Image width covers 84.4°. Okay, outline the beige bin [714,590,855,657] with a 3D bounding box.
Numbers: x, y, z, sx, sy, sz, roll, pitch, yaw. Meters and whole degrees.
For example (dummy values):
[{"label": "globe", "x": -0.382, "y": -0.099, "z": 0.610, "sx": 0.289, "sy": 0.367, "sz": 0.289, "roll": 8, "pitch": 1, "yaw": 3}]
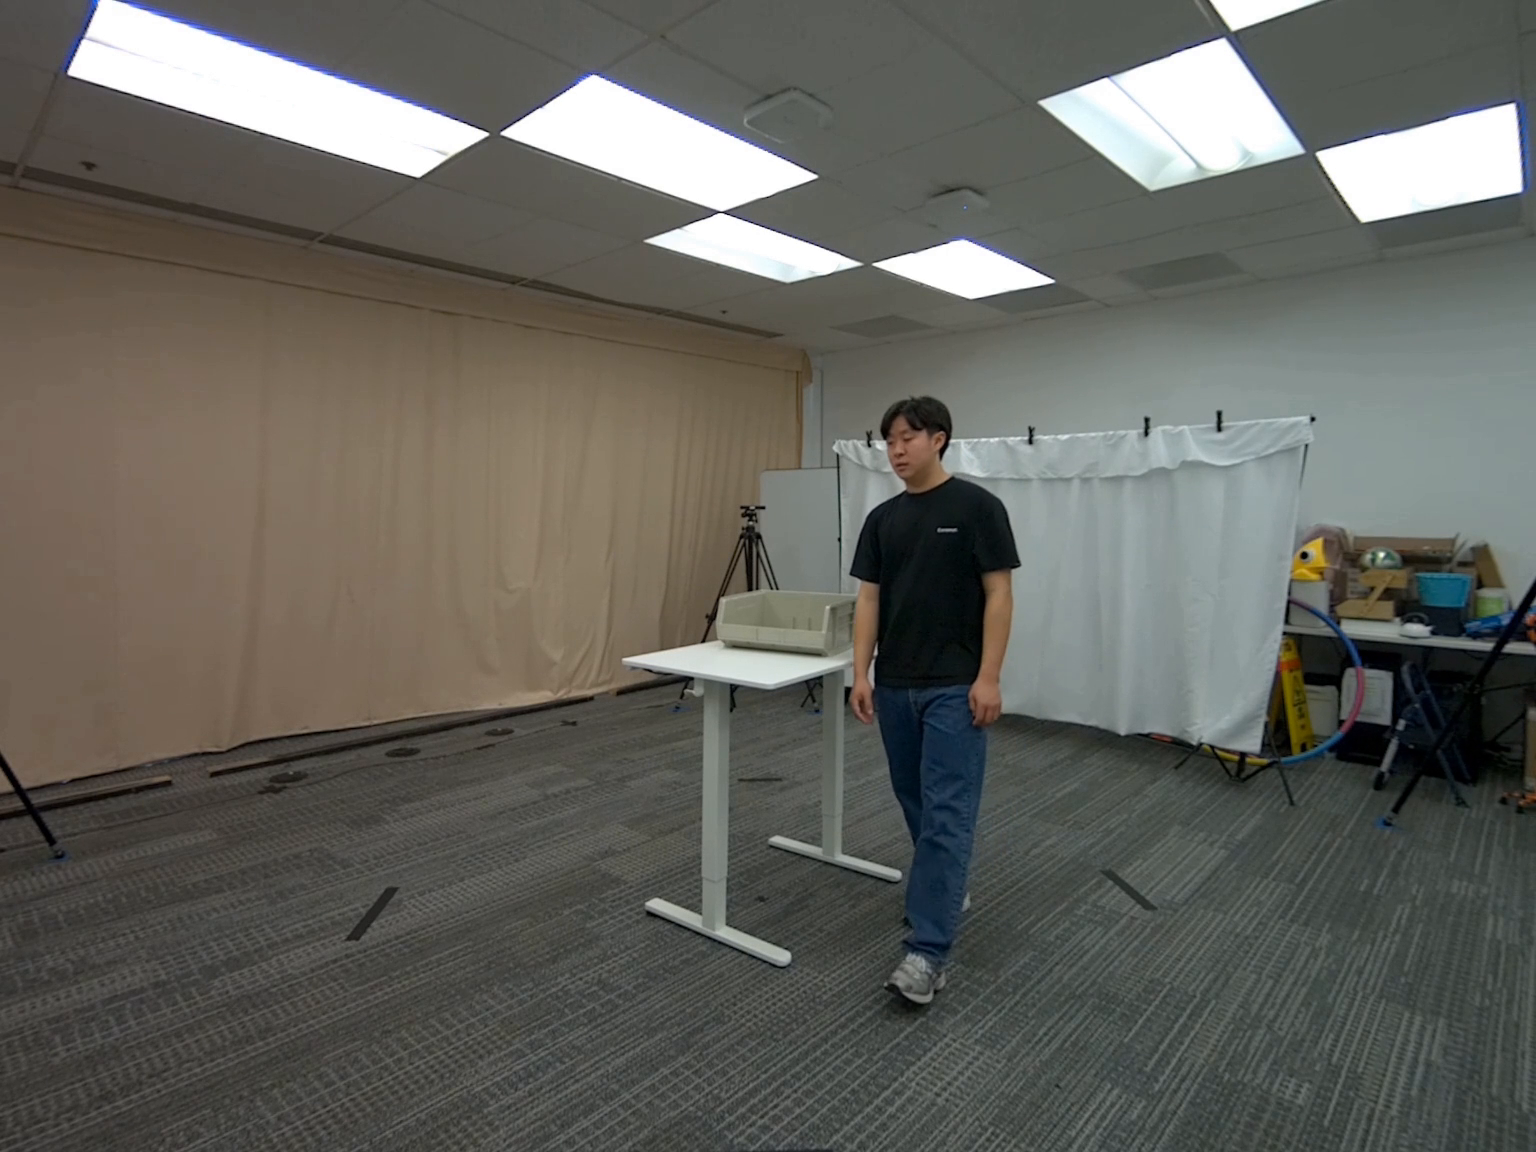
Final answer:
[{"label": "beige bin", "x": 0.088, "y": 0.168, "z": 3.051, "sx": 0.434, "sy": 0.189, "sz": 0.368, "roll": 2, "pitch": 3, "yaw": 27}]
